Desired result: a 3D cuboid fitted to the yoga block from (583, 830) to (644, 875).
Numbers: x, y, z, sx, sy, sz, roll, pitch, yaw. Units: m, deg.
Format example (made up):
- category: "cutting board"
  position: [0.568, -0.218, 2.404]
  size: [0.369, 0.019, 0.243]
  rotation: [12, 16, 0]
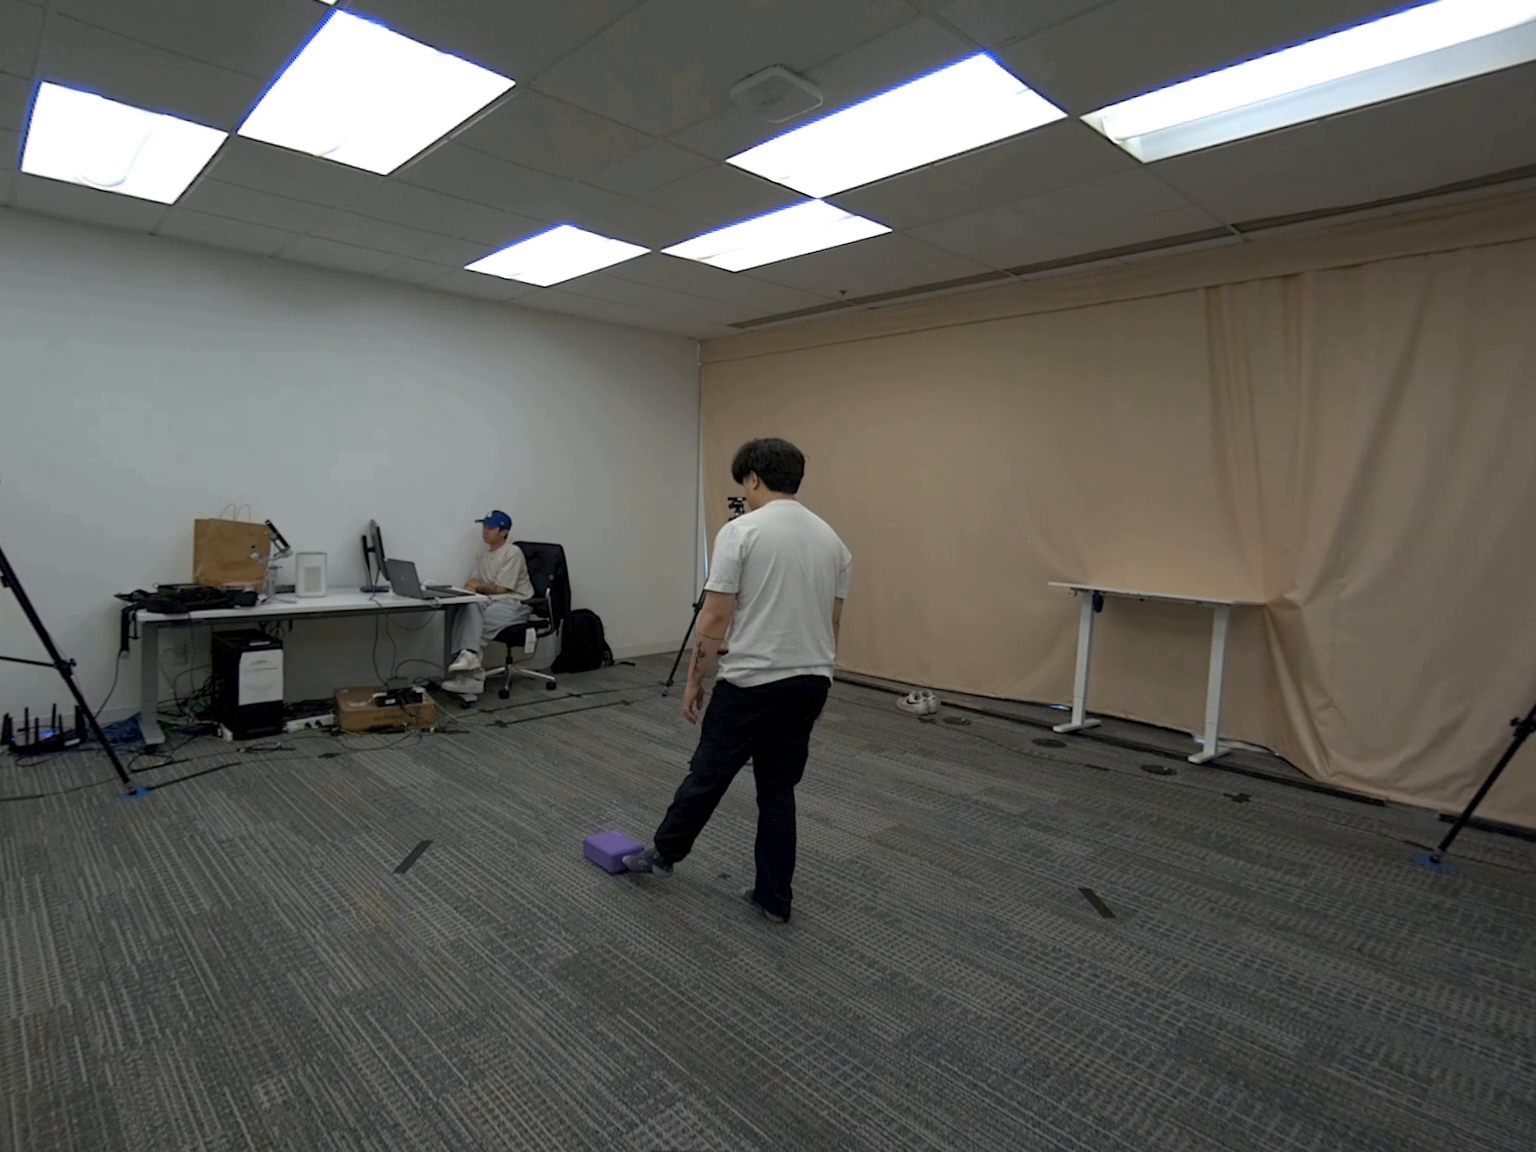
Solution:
- category: "yoga block"
  position: [-0.591, 1.049, 3.199]
  size: [0.146, 0.076, 0.235]
  rotation: [-3, 6, -40]
